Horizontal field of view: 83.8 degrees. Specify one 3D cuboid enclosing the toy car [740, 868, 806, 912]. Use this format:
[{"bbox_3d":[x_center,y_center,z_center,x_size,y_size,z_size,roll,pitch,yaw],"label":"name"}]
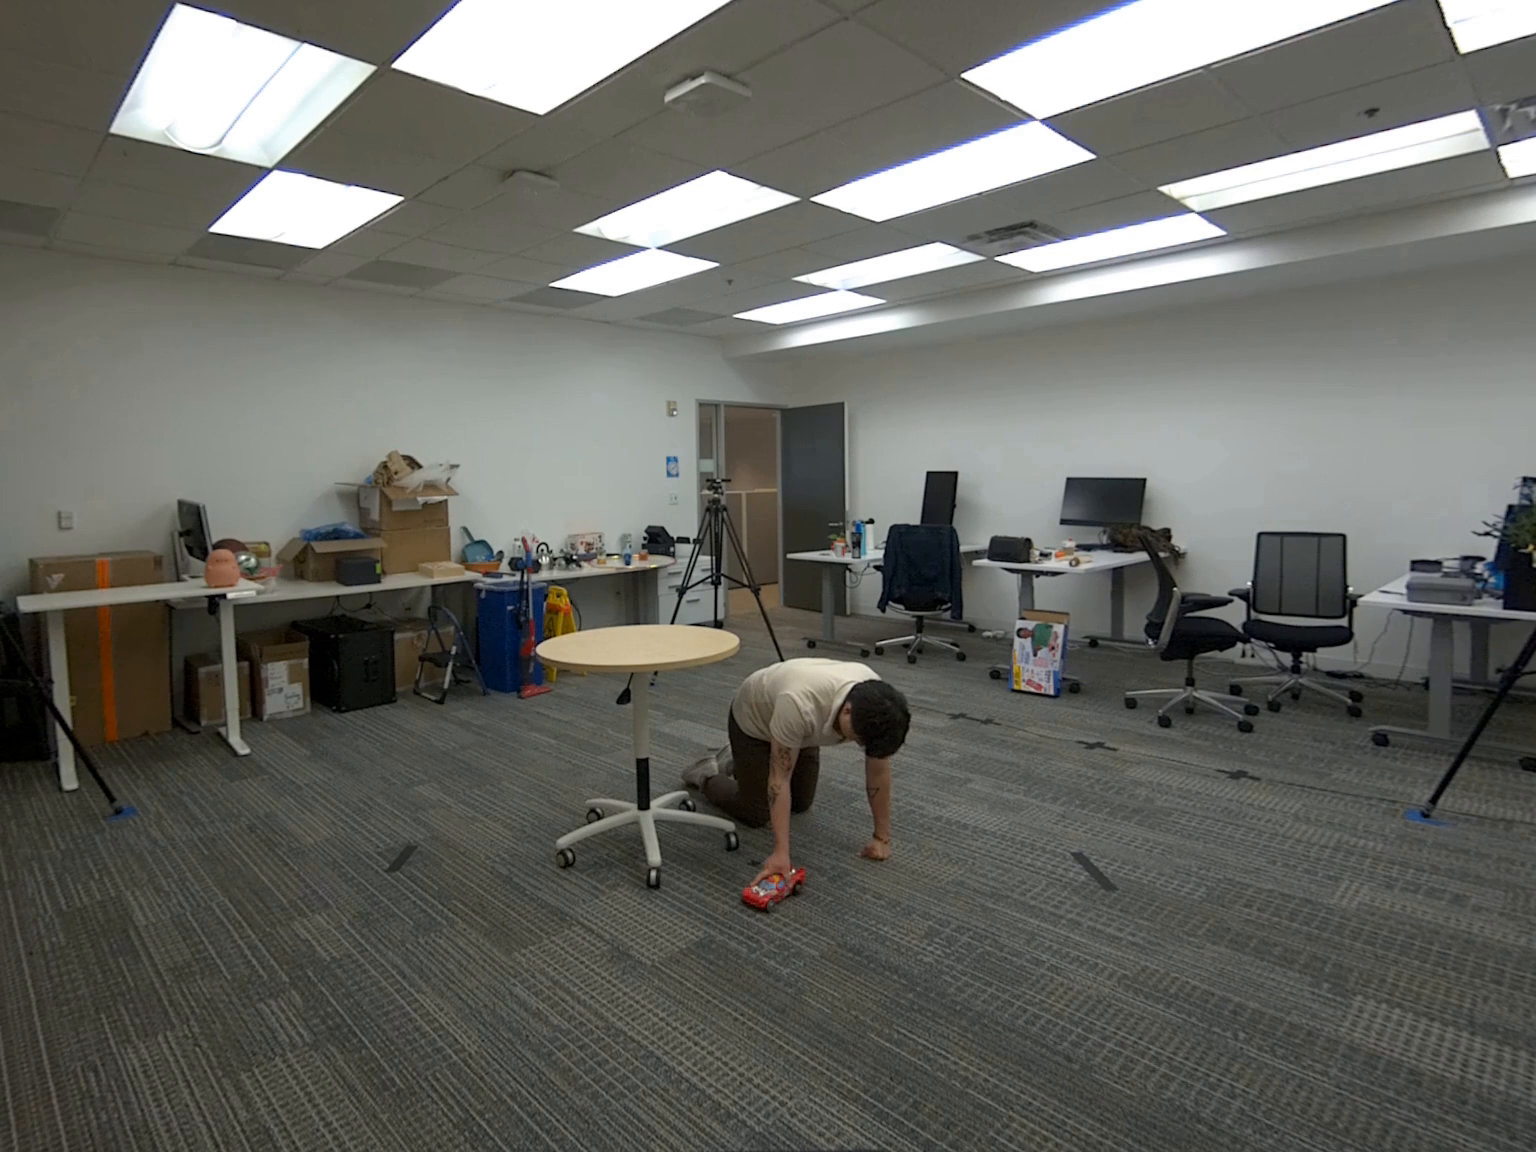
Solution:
[{"bbox_3d":[0.035,1.042,2.871,0.134,0.082,0.250,2,18,40],"label":"toy car"}]
